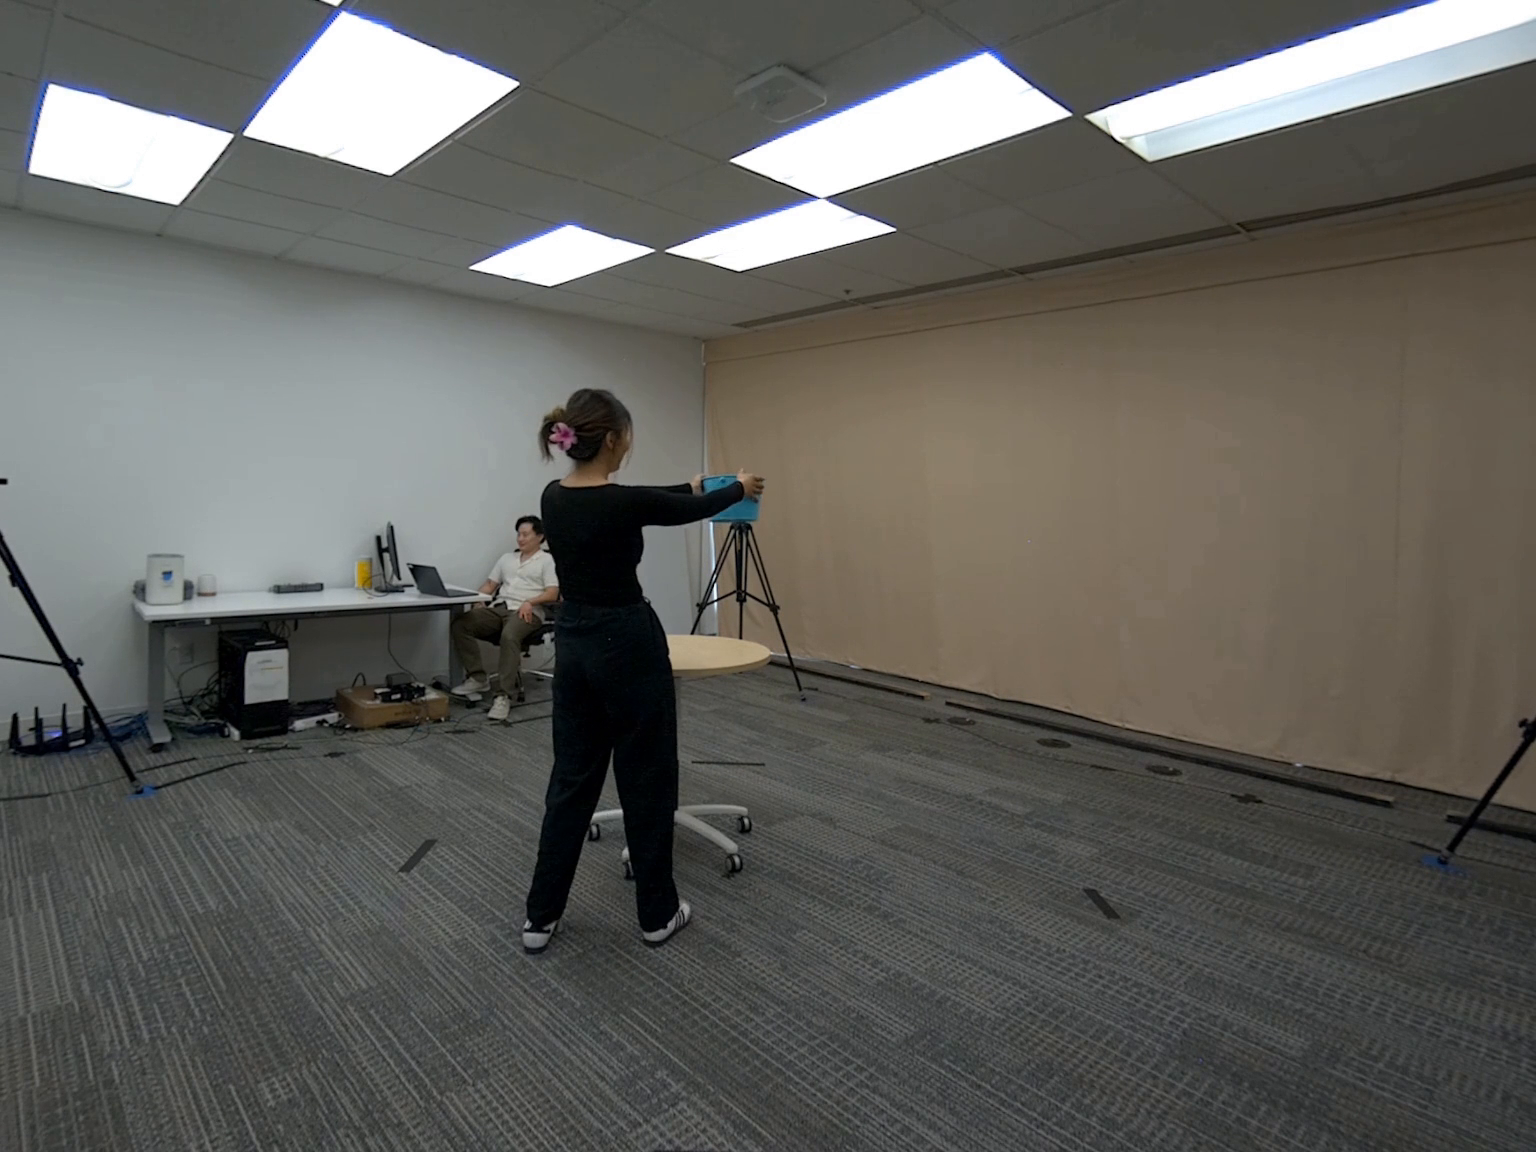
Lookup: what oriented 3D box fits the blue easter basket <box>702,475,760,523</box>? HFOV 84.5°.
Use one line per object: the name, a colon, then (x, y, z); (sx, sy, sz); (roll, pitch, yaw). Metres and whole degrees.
blue easter basket: (-0.144, -0.275, 3.065); (0.243, 0.156, 0.244); (-1, 0, -1)
